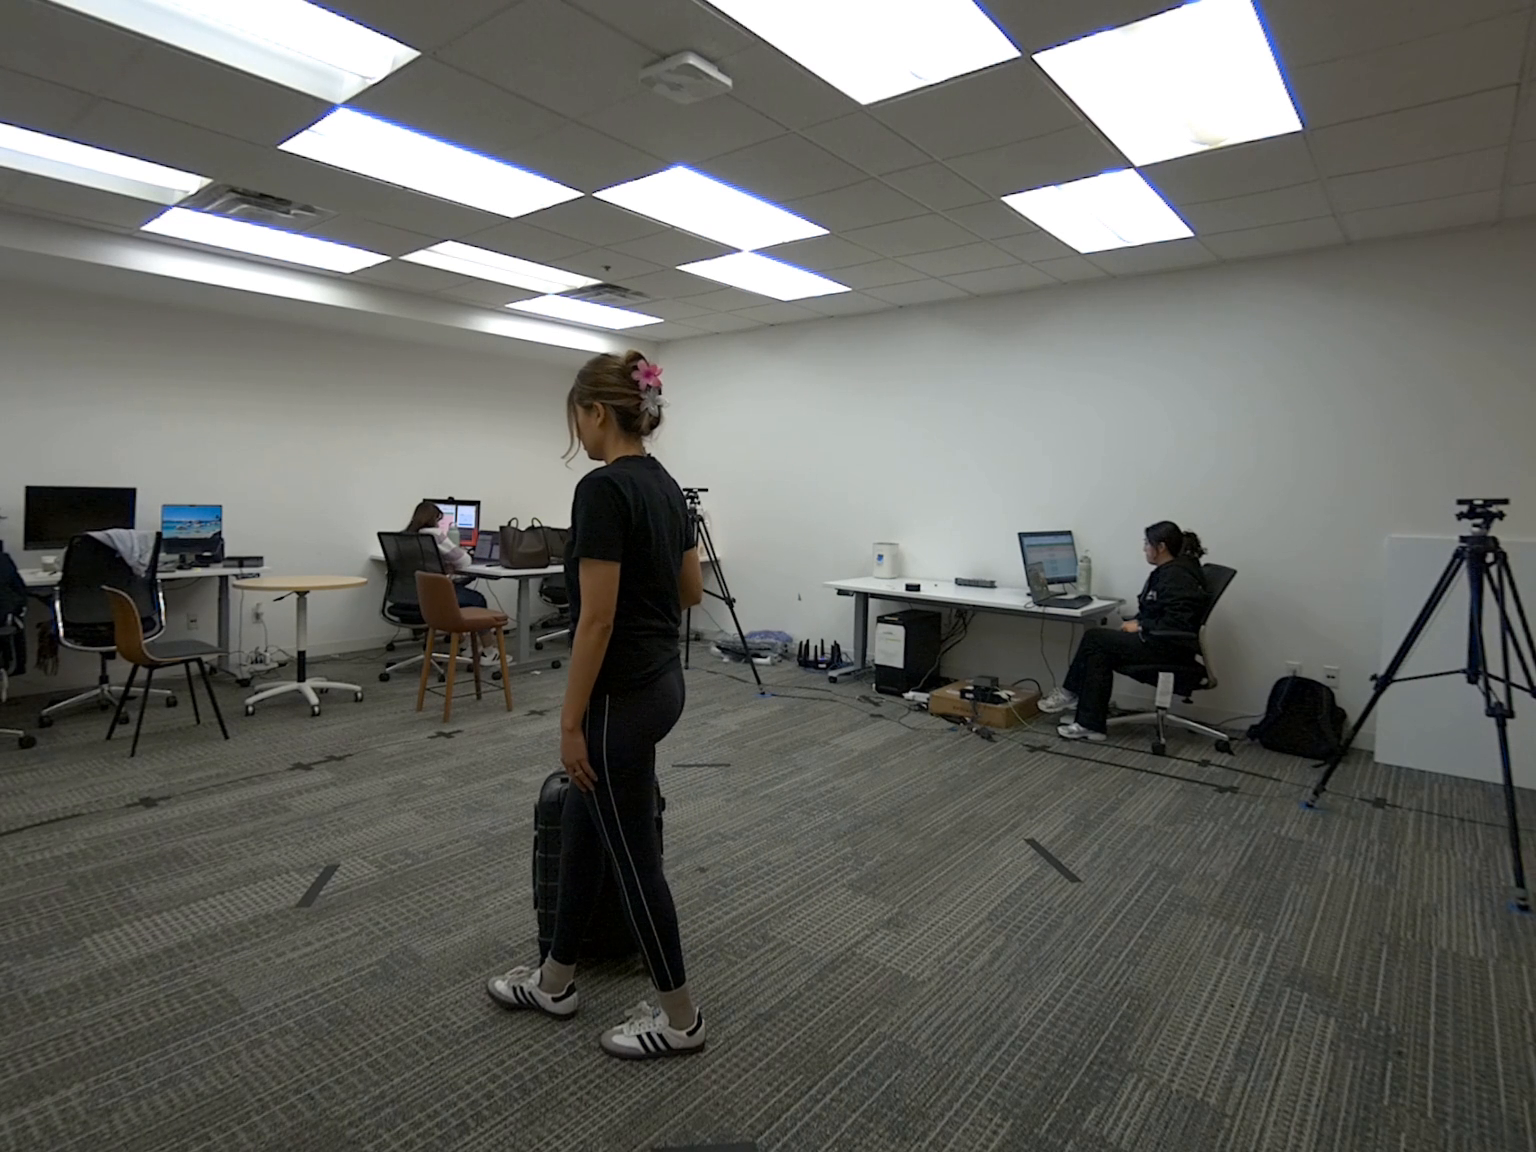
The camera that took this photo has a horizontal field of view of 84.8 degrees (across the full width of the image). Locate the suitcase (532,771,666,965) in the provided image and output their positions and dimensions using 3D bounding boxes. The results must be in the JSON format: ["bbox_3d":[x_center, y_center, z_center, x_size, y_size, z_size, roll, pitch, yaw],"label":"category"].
[{"bbox_3d":[-0.513,0.650,2.528,0.383,0.978,0.258,0,0,-4],"label":"suitcase"}]
